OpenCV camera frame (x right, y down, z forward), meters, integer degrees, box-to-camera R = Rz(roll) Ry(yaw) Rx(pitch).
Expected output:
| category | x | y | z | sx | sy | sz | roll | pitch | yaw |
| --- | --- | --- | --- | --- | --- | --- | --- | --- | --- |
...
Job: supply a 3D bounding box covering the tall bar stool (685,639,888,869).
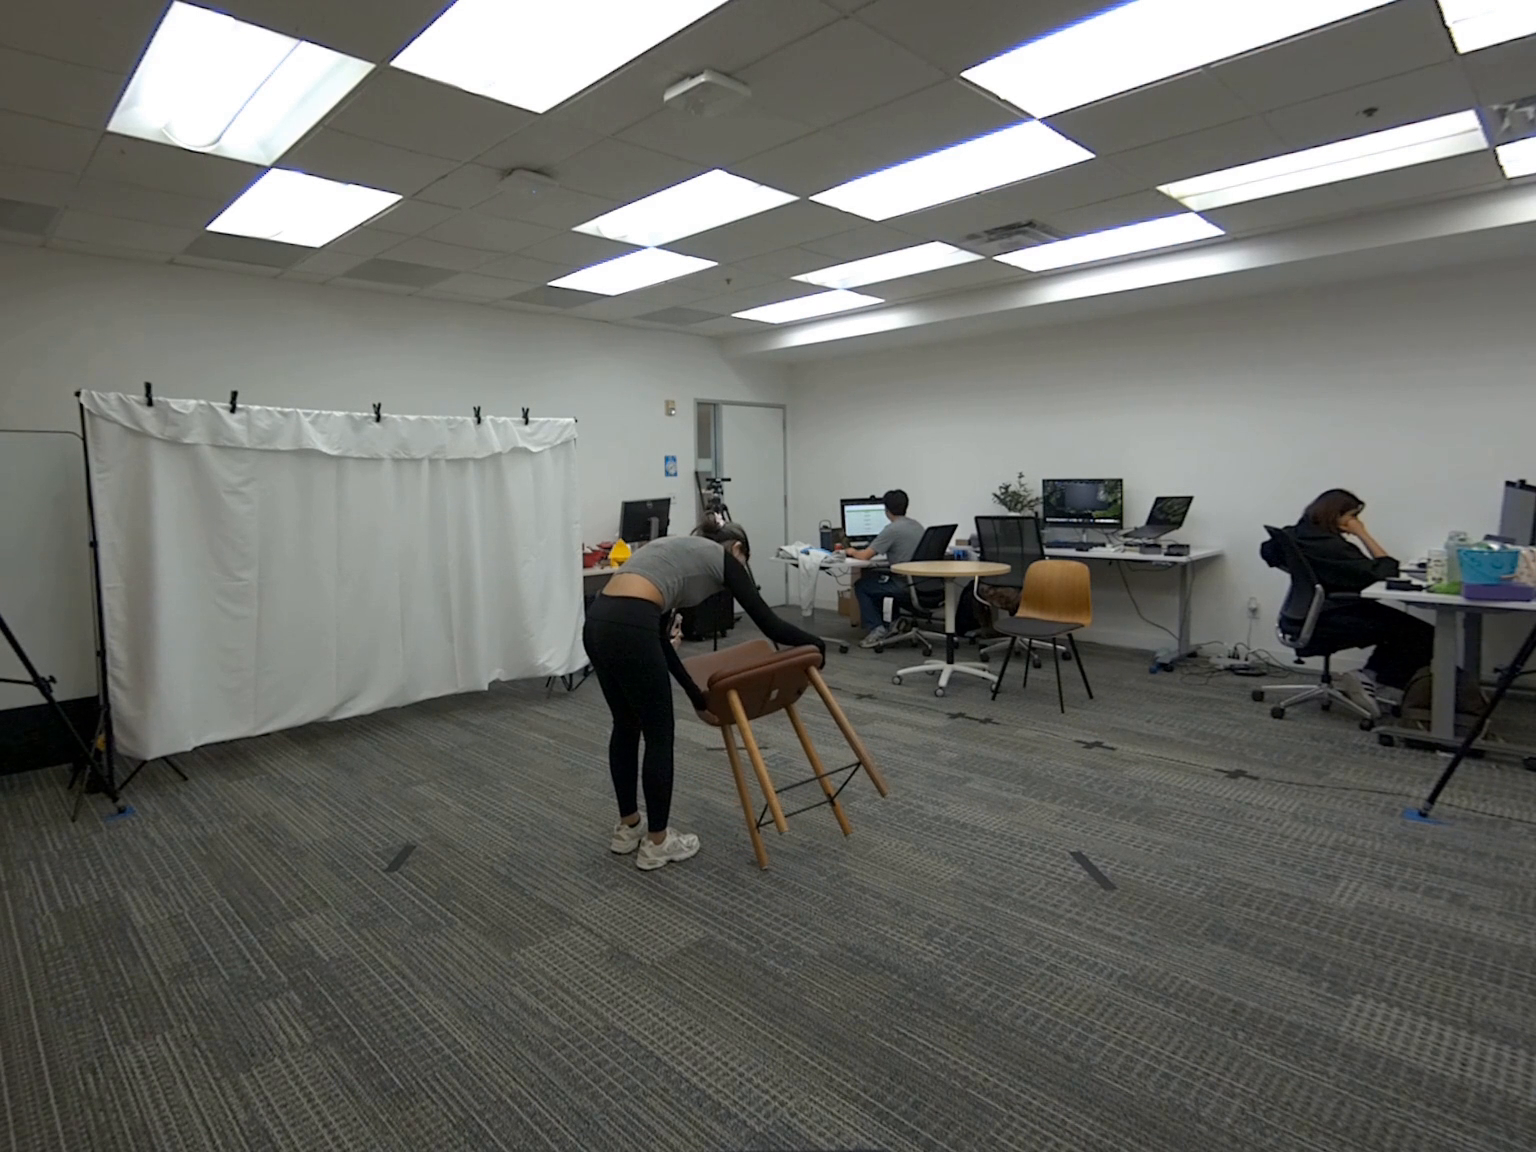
| category | x | y | z | sx | sy | sz | roll | pitch | yaw |
| --- | --- | --- | --- | --- | --- | --- | --- | --- | --- |
| tall bar stool | 0.023 | 0.545 | 3.161 | 0.450 | 0.919 | 0.459 | -13 | -33 | -19 |
